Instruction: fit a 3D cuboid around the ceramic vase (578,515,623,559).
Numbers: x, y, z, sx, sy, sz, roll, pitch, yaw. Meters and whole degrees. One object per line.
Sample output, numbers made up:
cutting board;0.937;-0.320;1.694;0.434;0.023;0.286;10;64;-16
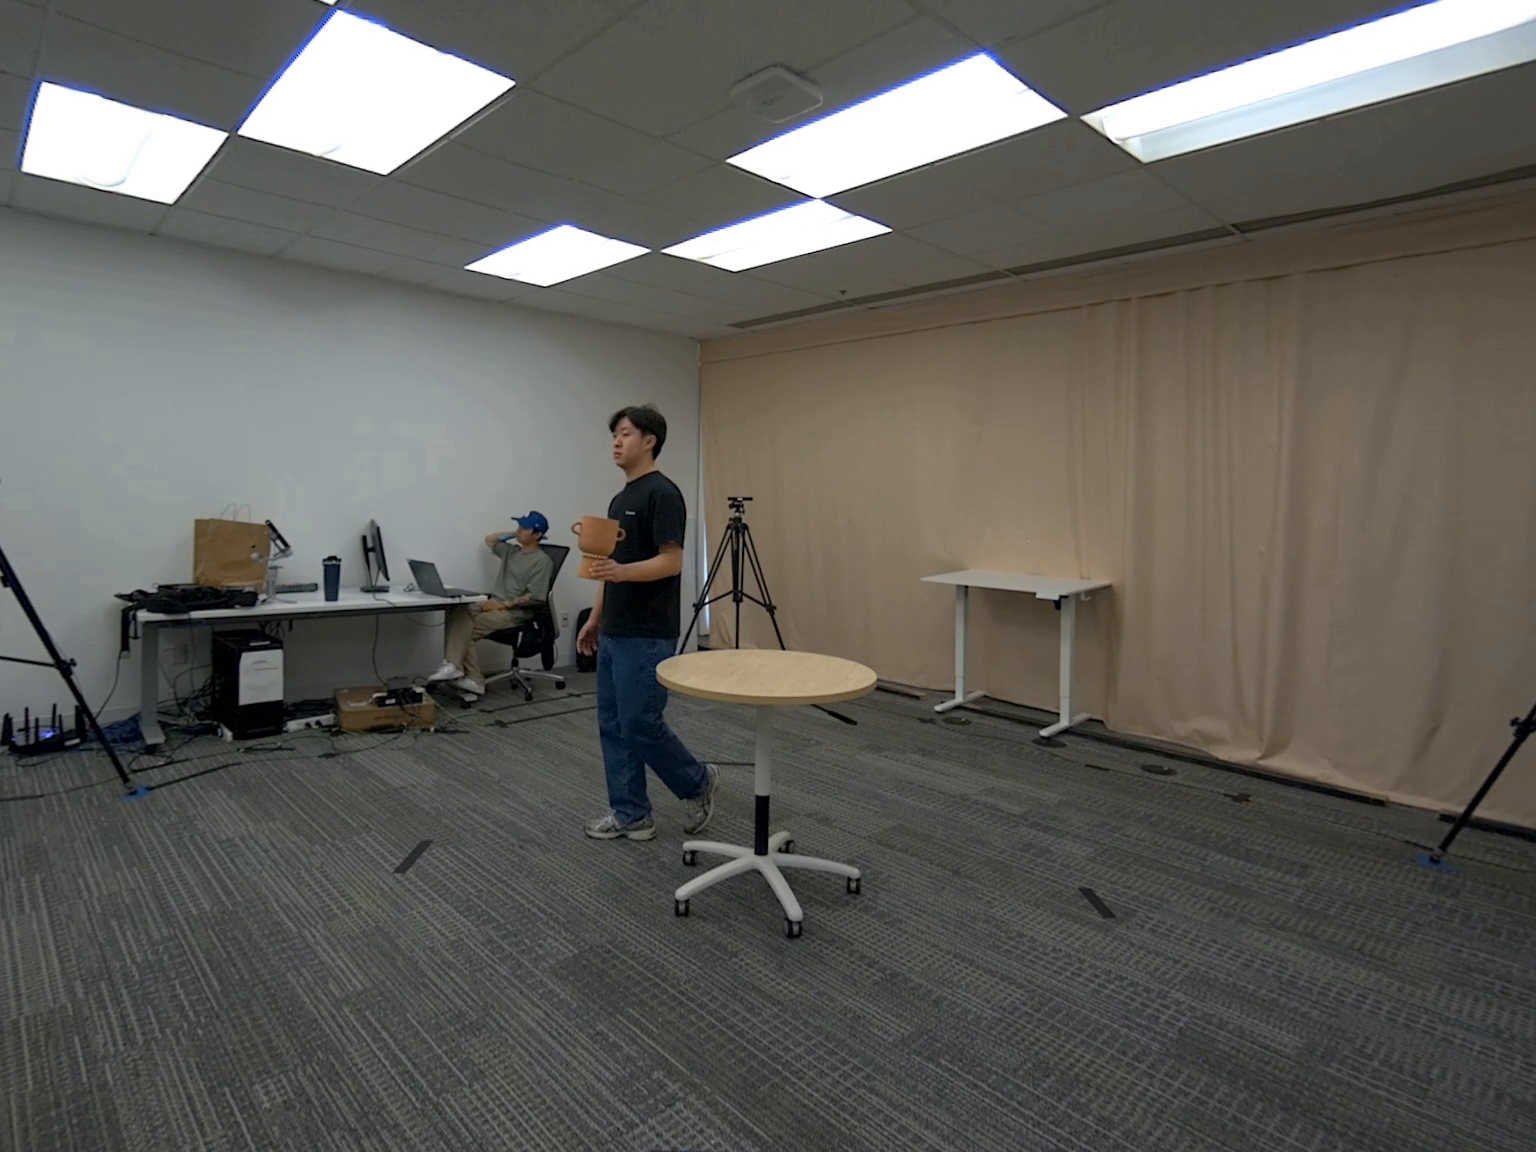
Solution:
ceramic vase;-0.637;-0.102;3.011;0.161;0.220;0.133;8;1;15
